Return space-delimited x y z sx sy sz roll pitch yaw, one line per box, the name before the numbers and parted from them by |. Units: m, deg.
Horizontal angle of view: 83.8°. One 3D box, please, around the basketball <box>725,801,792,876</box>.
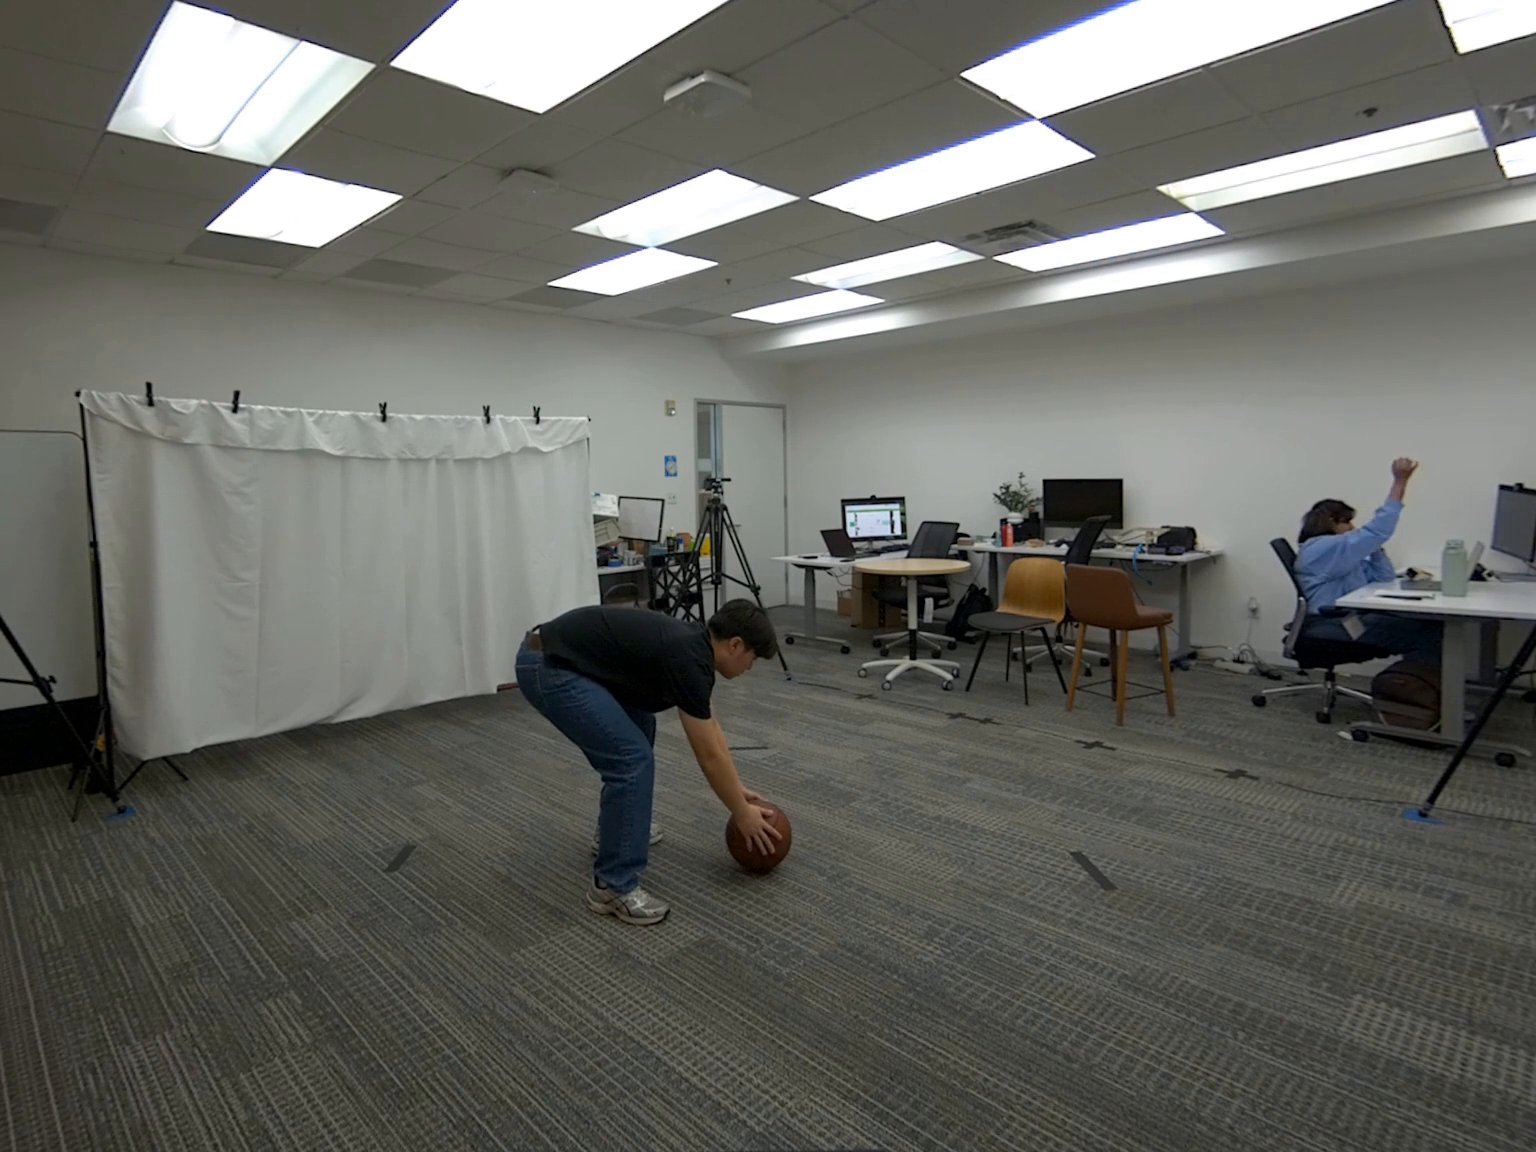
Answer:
basketball | -0.028 0.925 3.062 0.236 0.235 0.237 -1 5 -2
